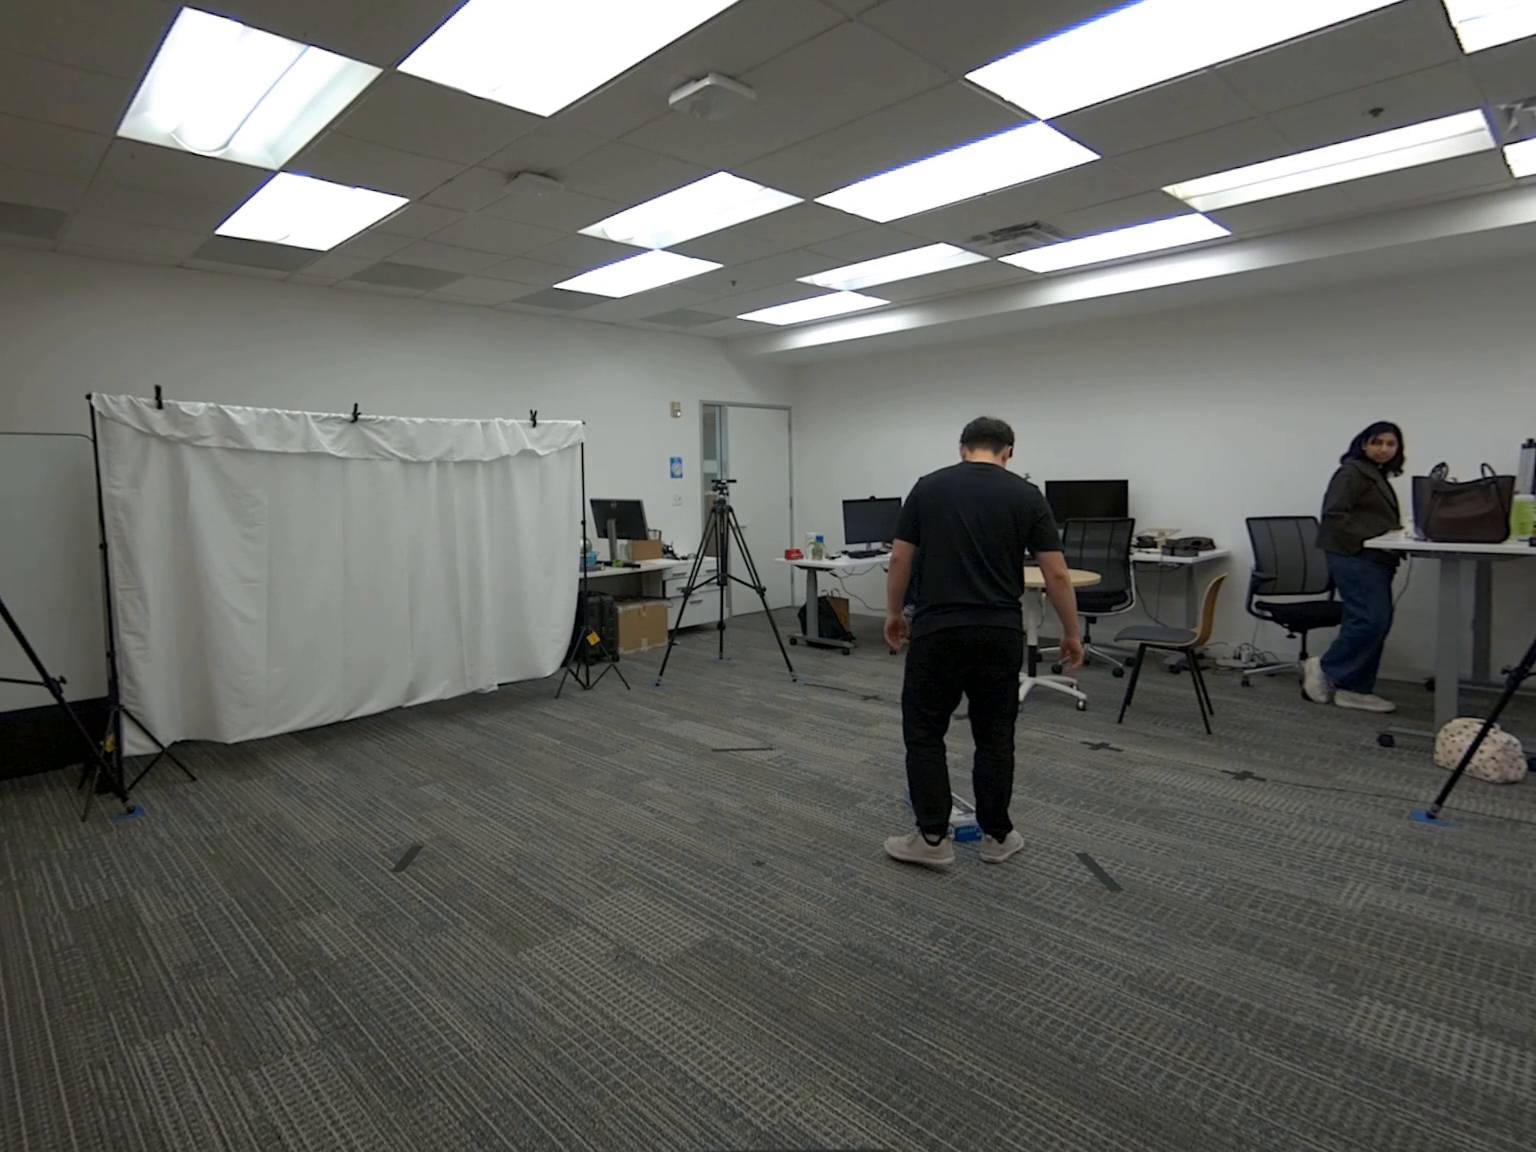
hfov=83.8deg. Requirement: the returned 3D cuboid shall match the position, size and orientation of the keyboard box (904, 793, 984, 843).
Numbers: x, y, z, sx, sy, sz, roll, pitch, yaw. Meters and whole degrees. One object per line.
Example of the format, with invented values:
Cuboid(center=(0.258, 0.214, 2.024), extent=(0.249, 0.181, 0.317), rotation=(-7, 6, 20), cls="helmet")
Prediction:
Cuboid(center=(0.742, 0.964, 3.491), extent=(0.173, 0.059, 0.445), rotation=(-3, 7, -16), cls="keyboard box")
